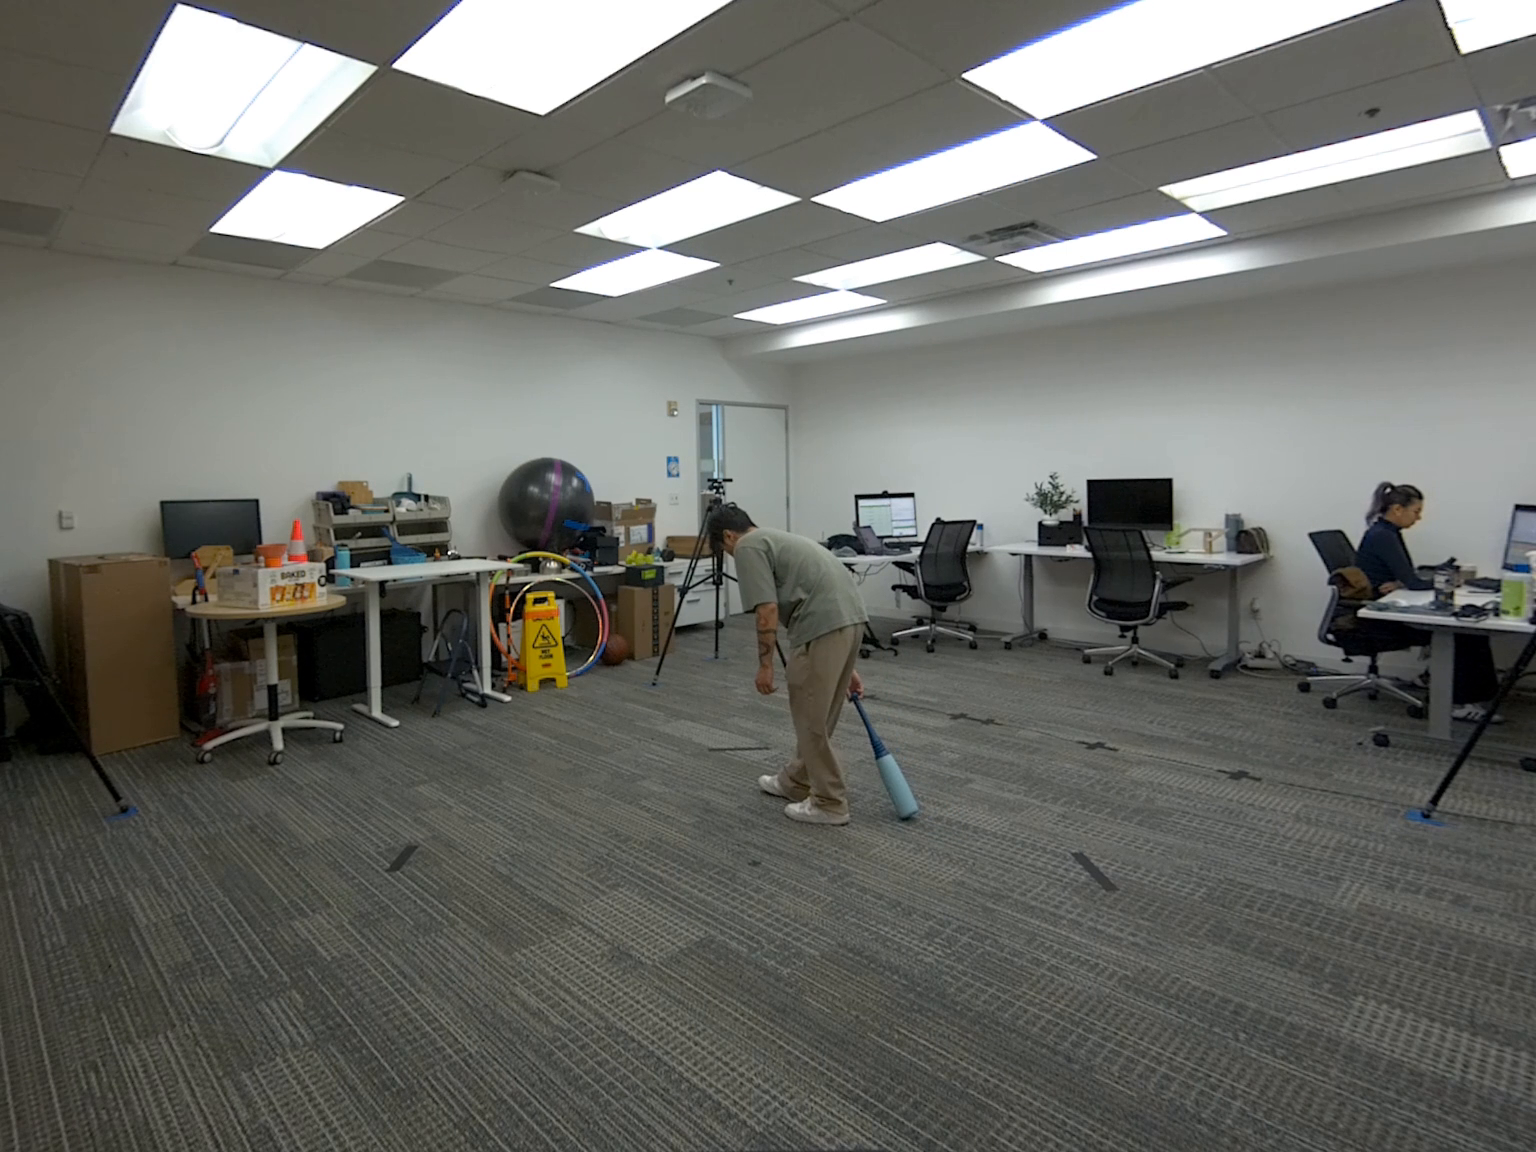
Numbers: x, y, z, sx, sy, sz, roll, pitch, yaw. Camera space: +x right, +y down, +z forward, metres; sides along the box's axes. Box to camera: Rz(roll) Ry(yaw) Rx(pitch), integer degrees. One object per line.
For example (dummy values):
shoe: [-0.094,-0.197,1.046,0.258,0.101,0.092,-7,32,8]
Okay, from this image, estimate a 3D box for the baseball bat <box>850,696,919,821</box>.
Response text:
baseball bat: [0.467,0.742,3.584,0.088,0.558,0.087,-21,-23,-11]
